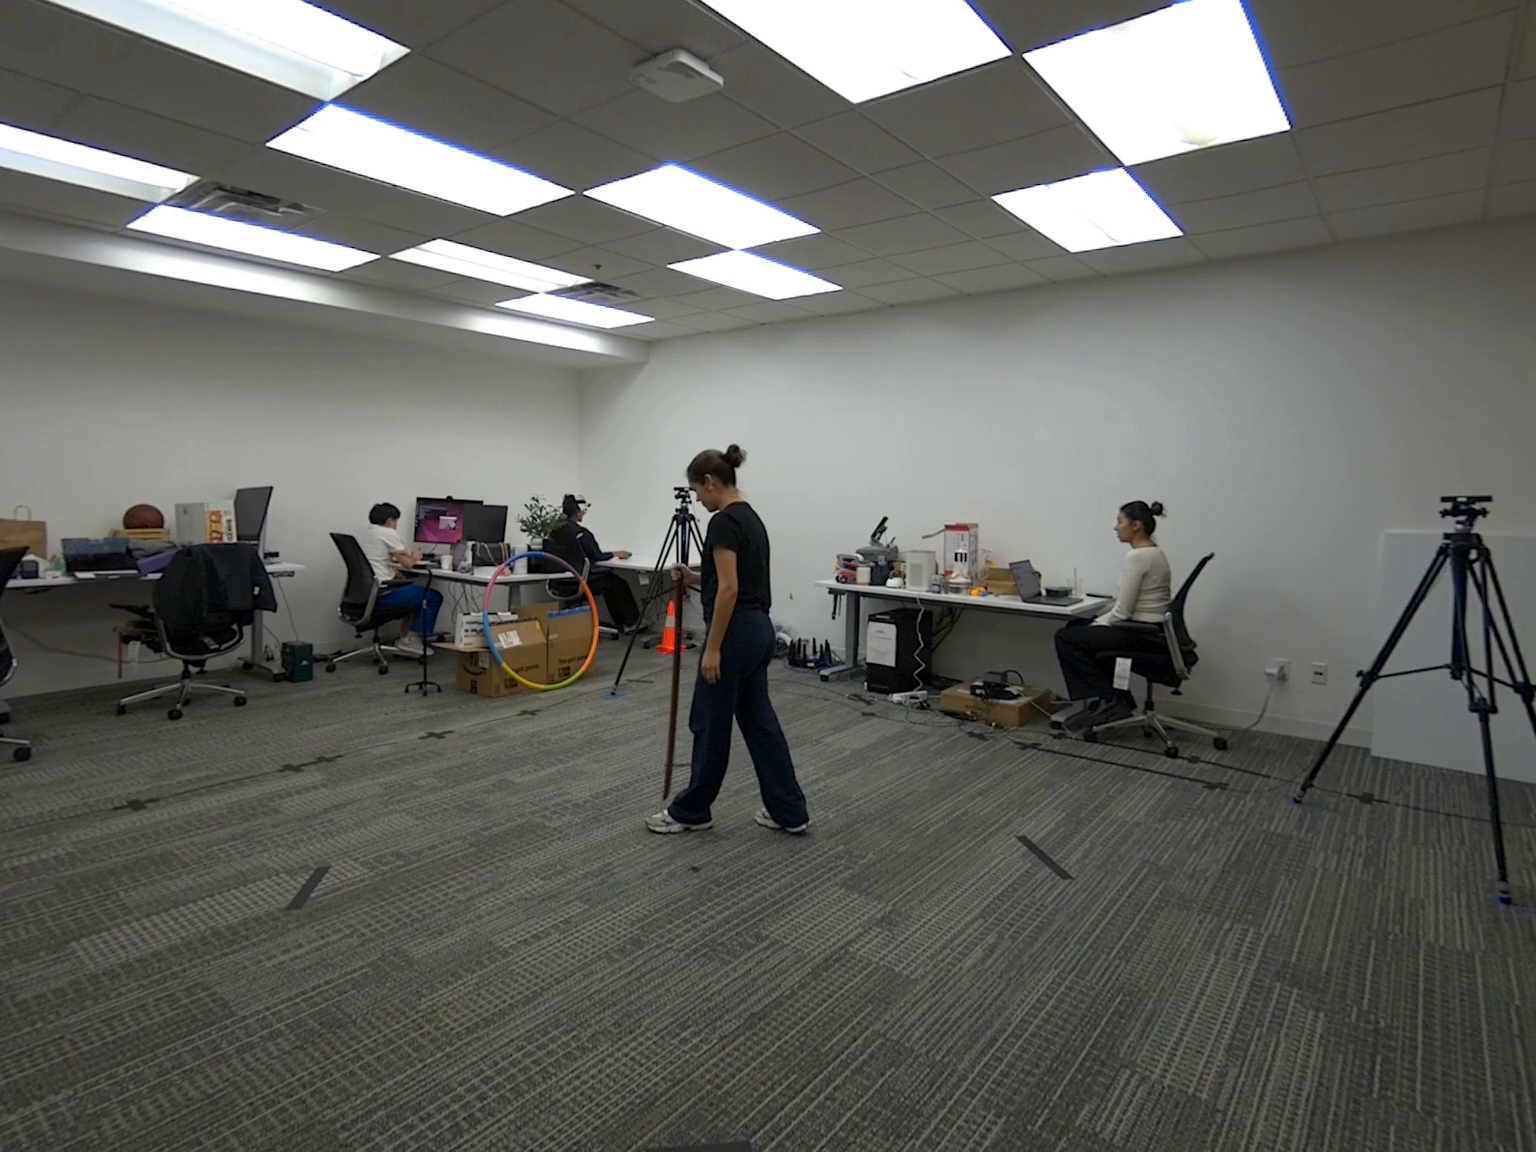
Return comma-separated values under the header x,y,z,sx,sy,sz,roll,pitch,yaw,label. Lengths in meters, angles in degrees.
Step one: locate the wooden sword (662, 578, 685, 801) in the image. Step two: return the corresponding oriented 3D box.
x,y,z,sx,sy,sz,roll,pitch,yaw,label
-0.402,0.479,3.692,0.023,1.023,0.053,0,2,-34,wooden sword
